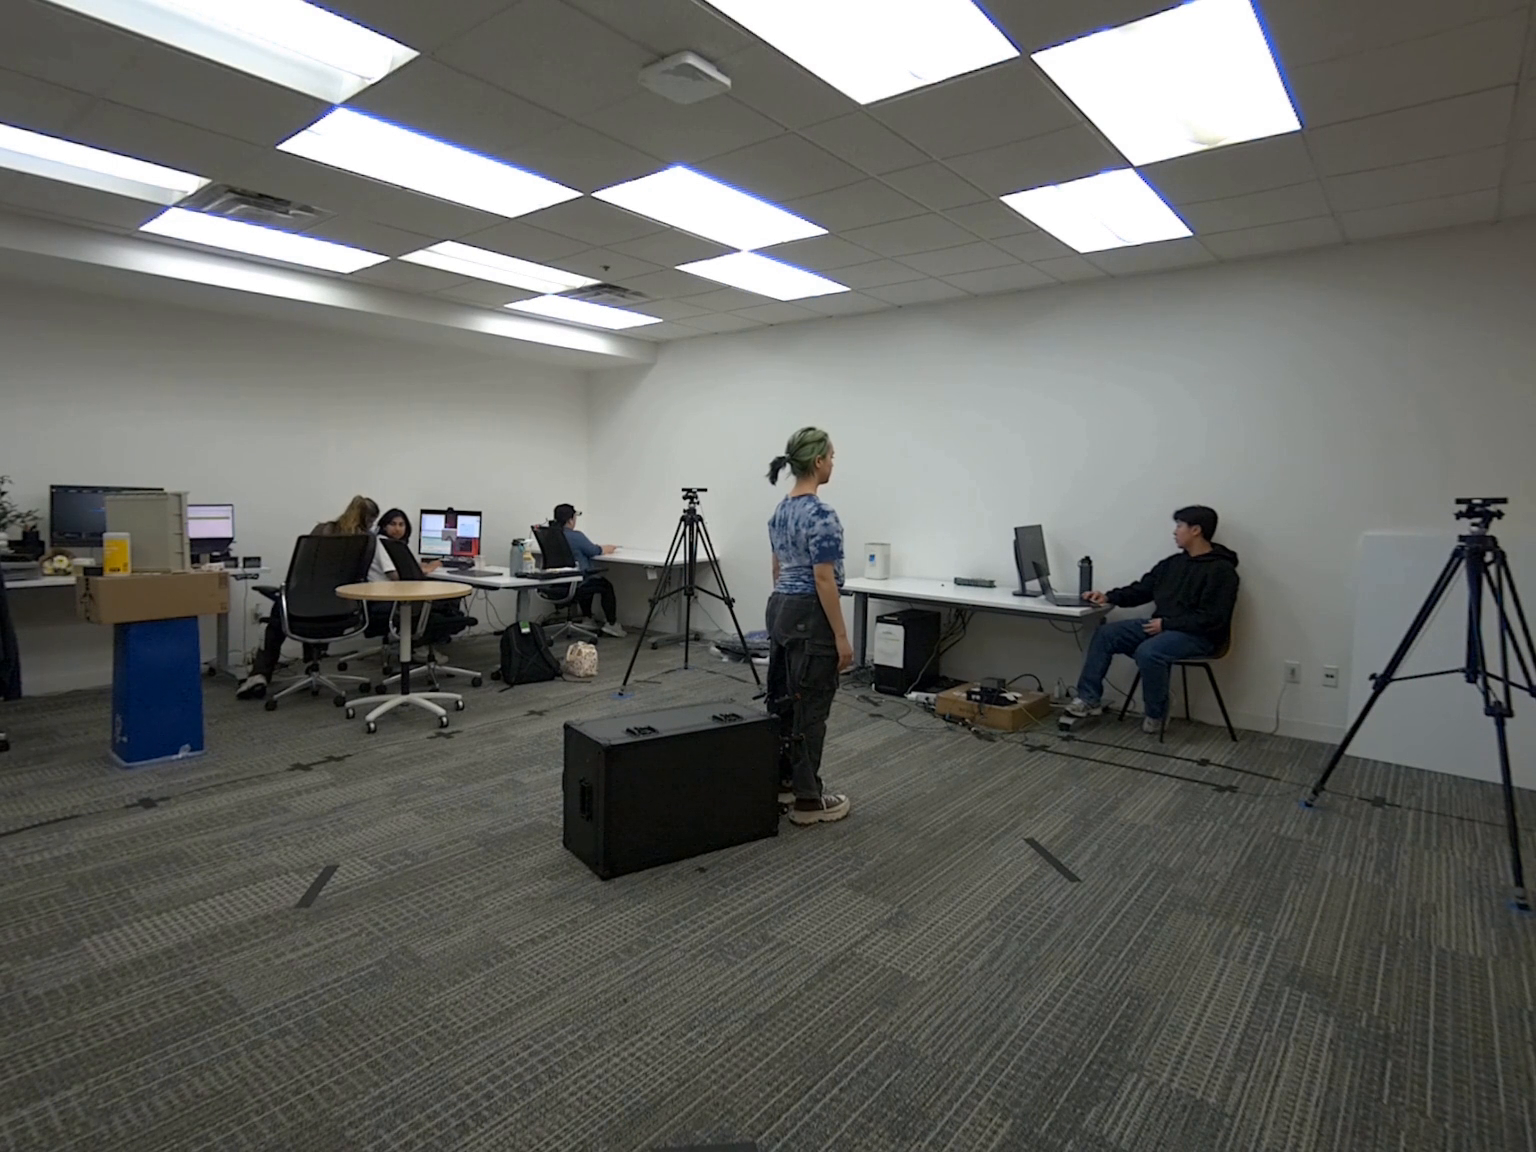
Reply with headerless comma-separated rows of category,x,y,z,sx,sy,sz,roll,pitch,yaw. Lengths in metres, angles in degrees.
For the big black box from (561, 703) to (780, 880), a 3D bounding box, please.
big black box,-0.366,0.798,3.367,0.837,0.520,0.409,-2,5,-34
